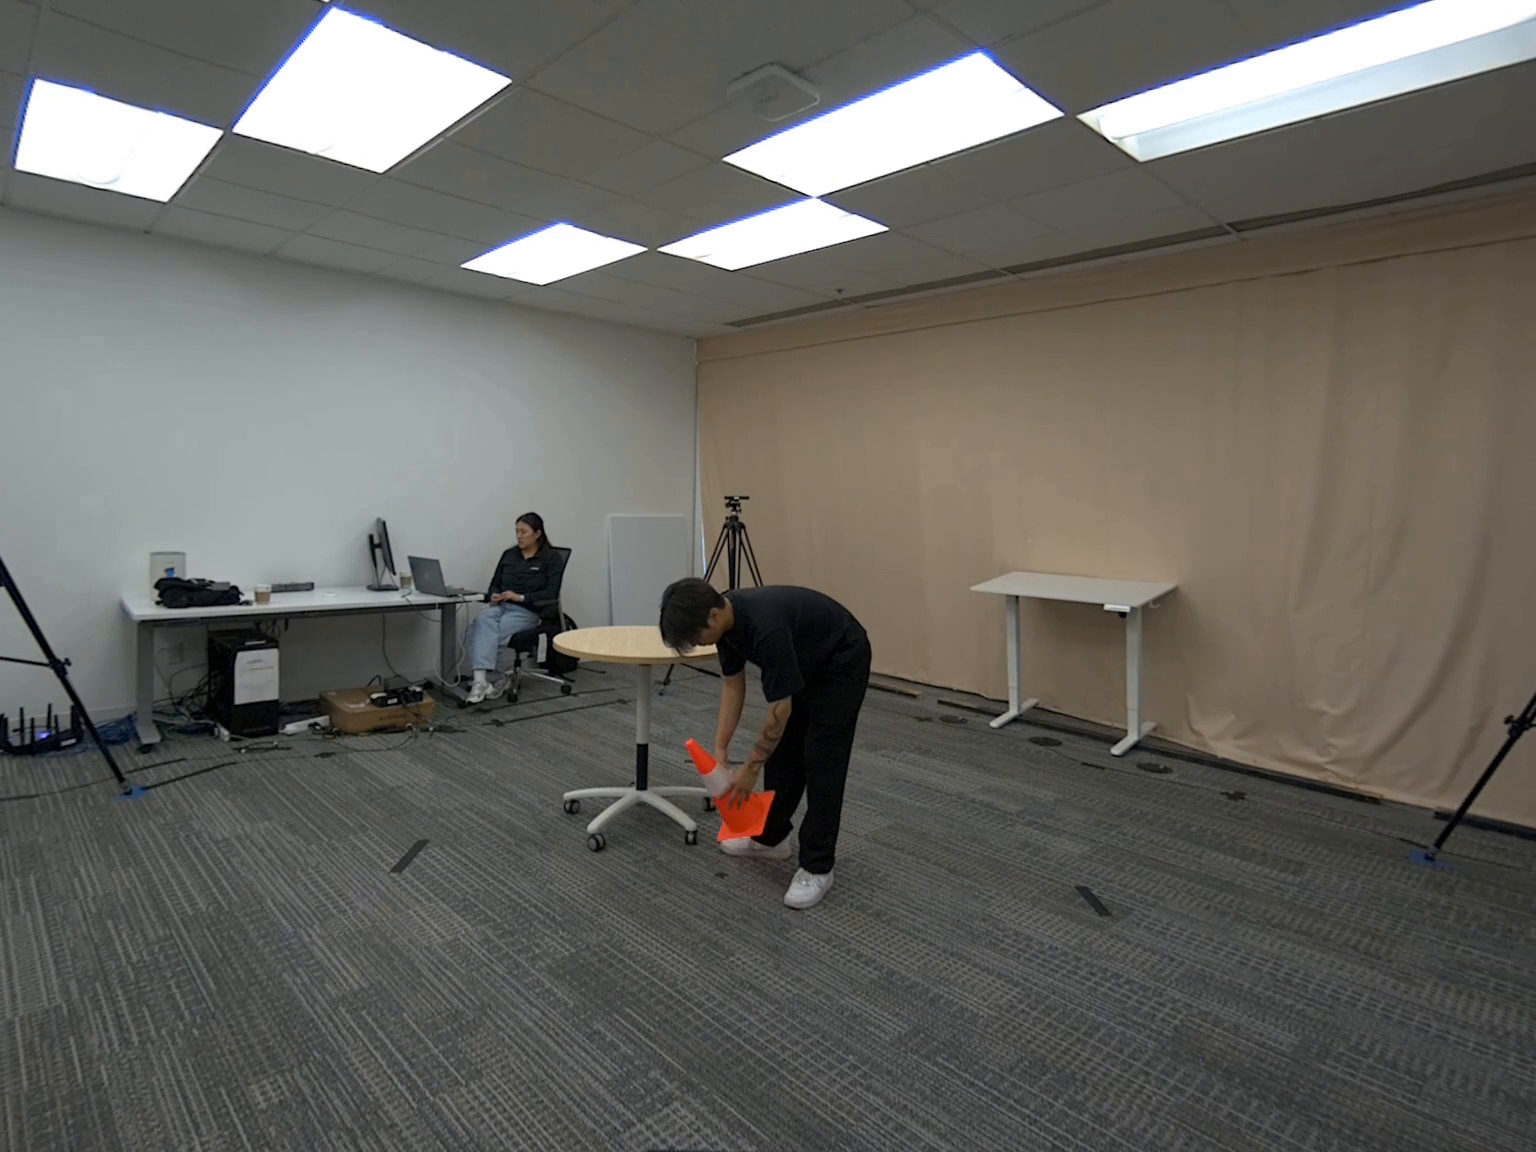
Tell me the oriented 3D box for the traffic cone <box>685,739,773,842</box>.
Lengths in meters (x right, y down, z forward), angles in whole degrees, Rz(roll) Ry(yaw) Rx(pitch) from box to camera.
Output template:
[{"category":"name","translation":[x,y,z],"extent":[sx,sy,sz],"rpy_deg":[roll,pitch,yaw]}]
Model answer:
[{"category":"traffic cone","translation":[-0.169,0.724,2.967],"extent":[0.206,0.376,0.206],"rpy_deg":[-19,24,32]}]
